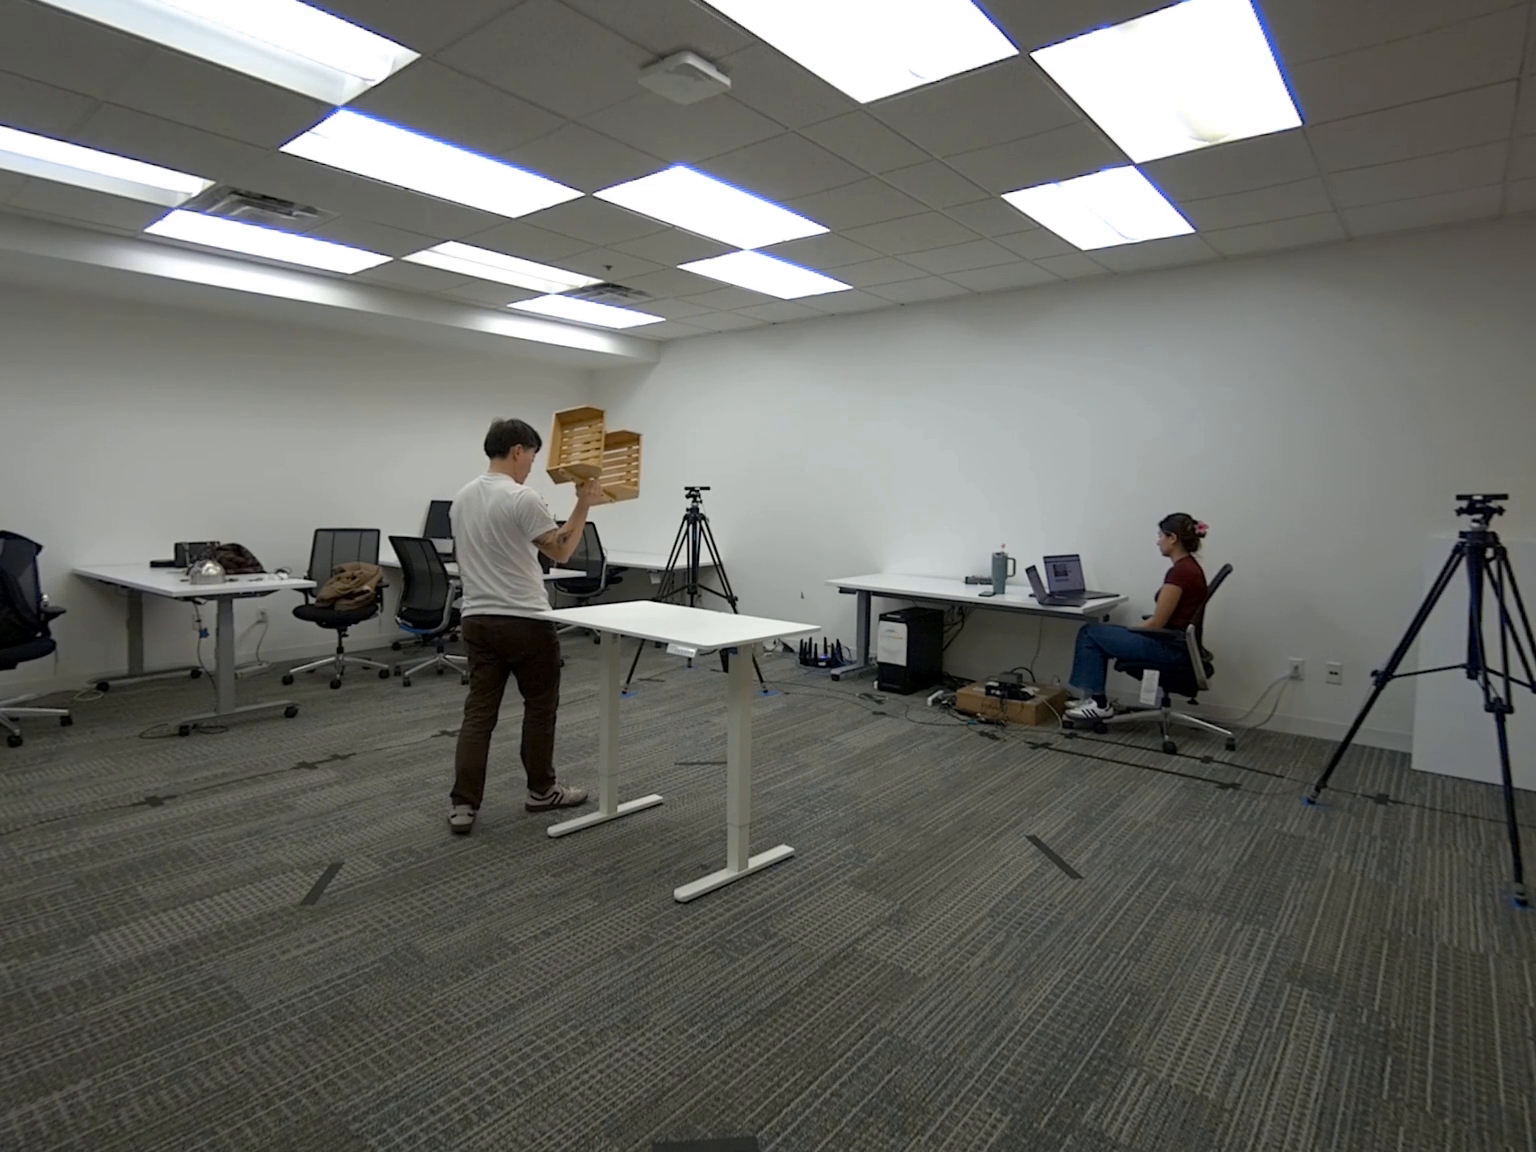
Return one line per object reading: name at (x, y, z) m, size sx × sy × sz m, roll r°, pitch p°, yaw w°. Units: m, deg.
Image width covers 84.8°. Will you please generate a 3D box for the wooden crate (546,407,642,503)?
wooden crate at (-0.692, -0.495, 3.366) m, size 0.305 × 0.333 × 0.263 m, roll -9°, pitch -34°, yaw 11°
